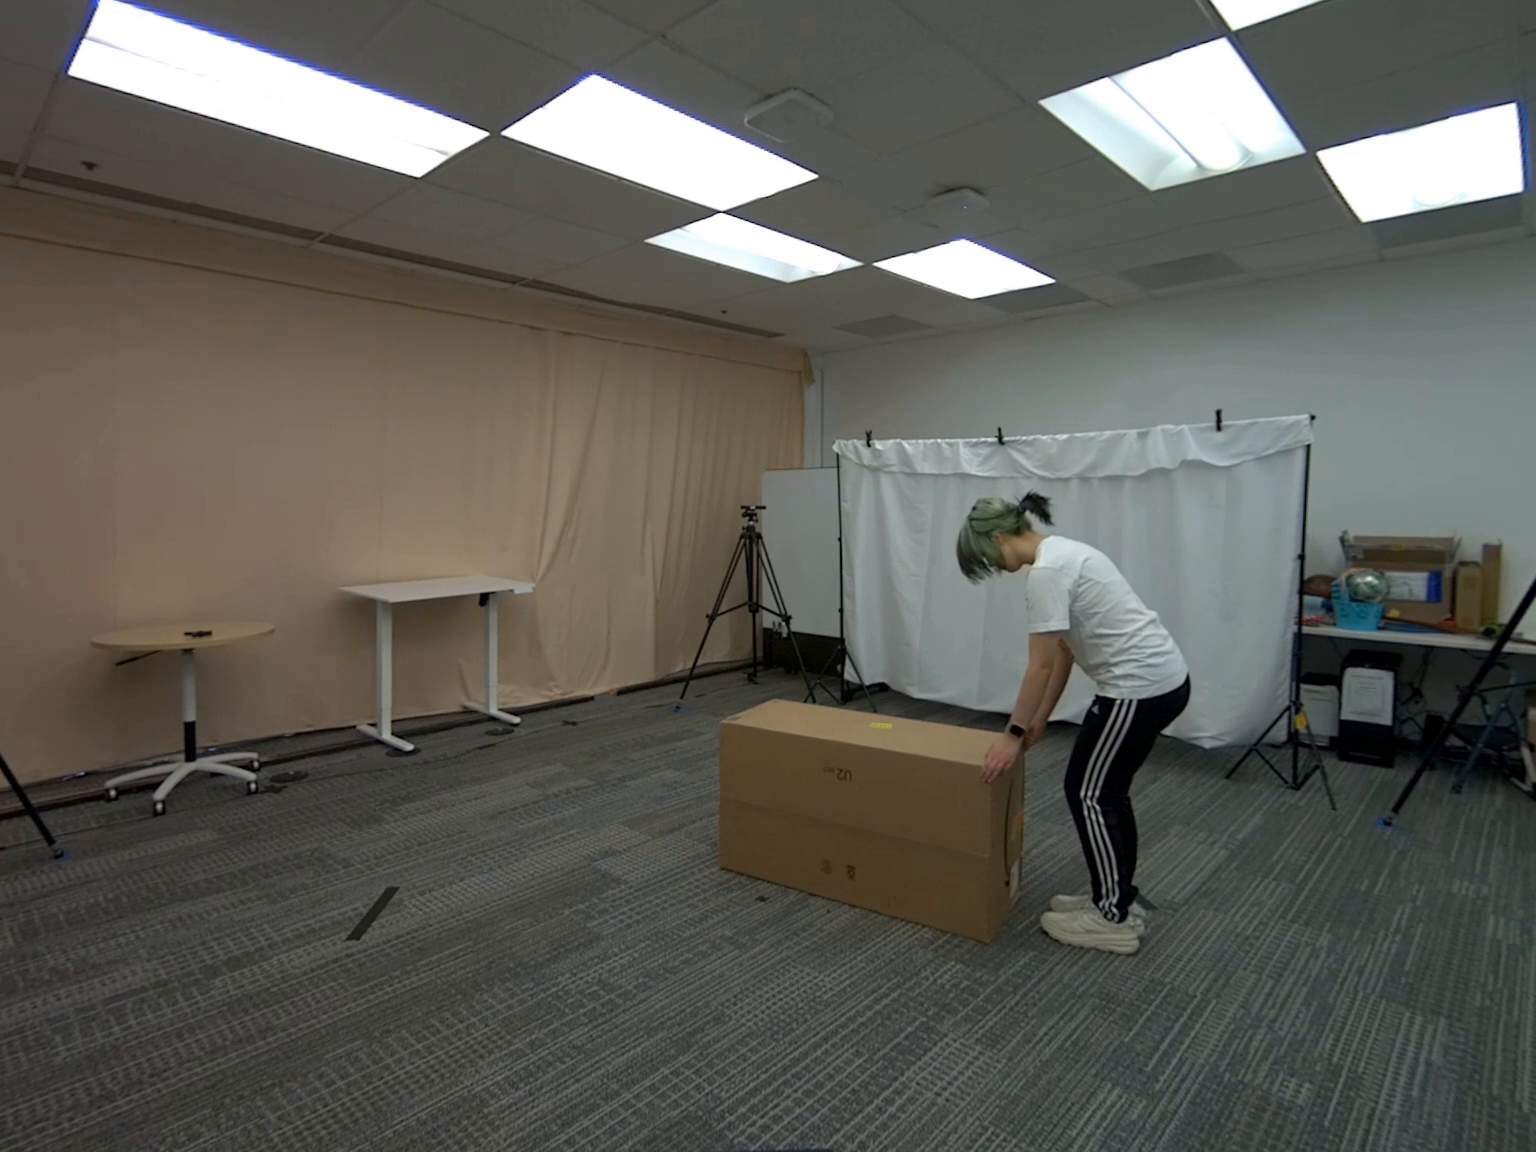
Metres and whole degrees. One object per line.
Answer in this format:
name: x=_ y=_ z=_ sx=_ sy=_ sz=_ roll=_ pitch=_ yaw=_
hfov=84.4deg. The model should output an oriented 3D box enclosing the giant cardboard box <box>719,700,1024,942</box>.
giant cardboard box: x=0.367 y=0.844 z=3.104 sx=1.058 sy=0.583 sz=0.434 roll=3 pitch=4 yaw=32
